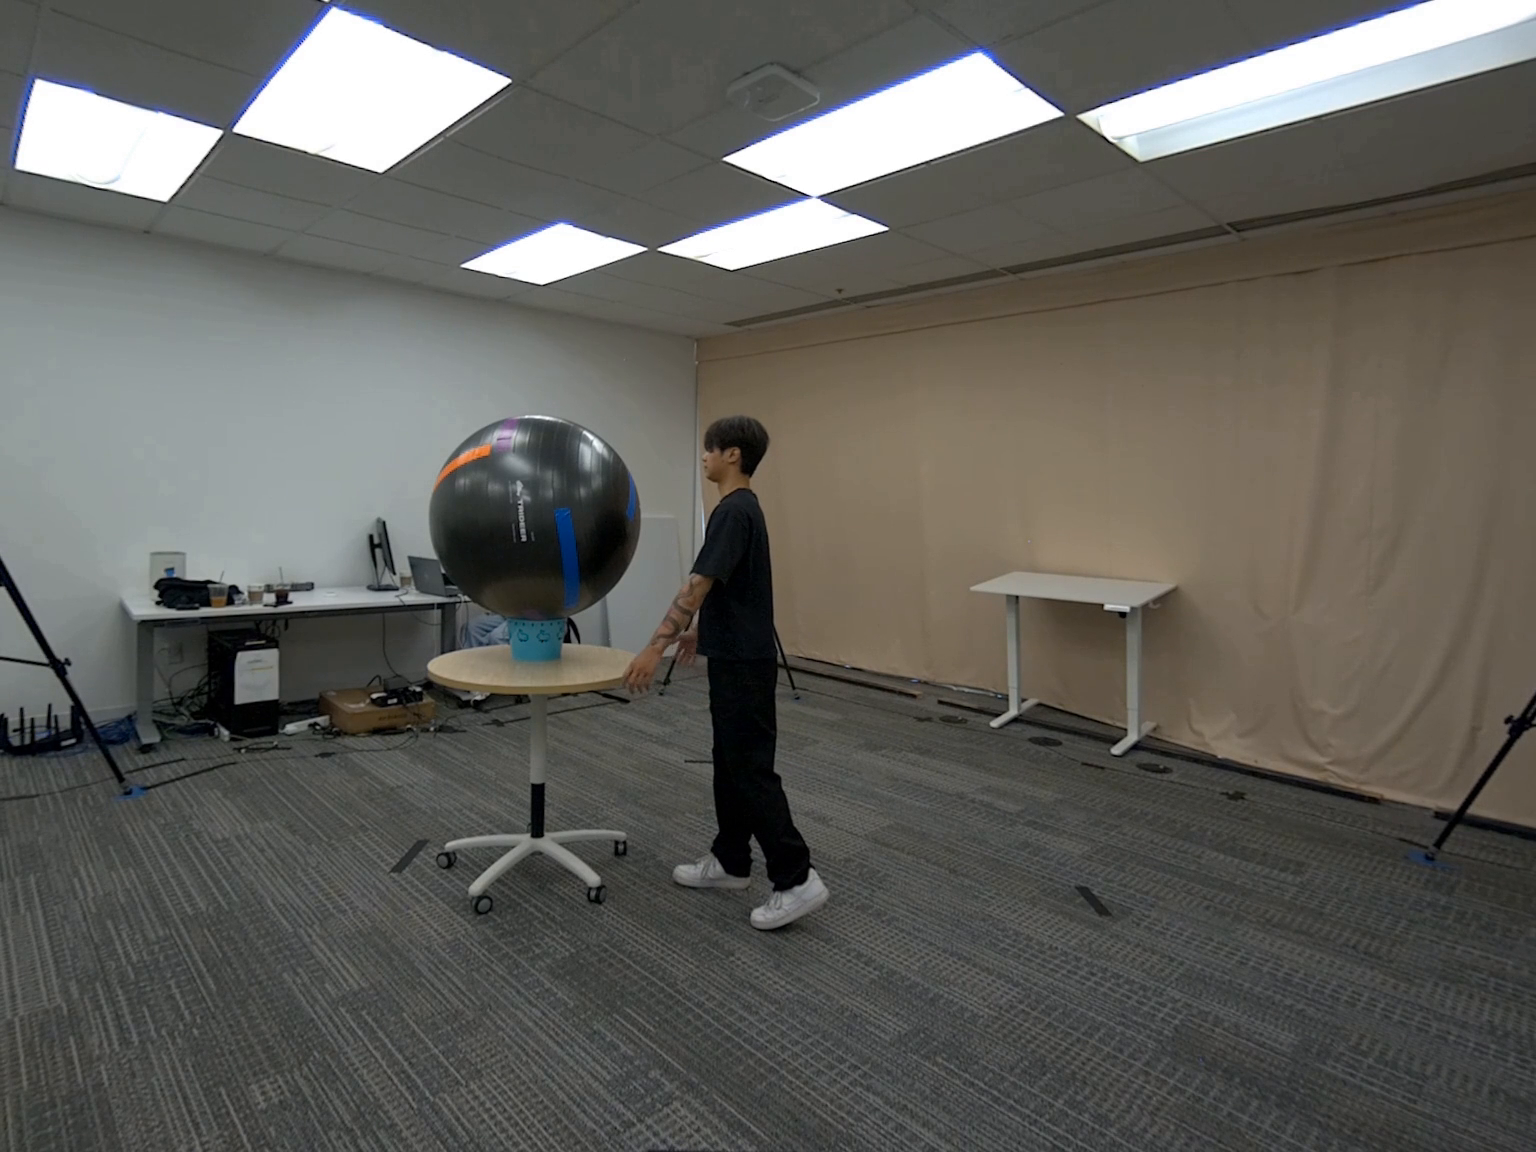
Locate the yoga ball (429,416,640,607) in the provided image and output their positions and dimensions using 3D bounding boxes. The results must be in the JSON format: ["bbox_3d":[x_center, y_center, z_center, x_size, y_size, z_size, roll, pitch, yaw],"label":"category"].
[{"bbox_3d":[-0.866,-0.210,3.112,0.757,0.756,0.761,1,4,-1],"label":"yoga ball"}]
